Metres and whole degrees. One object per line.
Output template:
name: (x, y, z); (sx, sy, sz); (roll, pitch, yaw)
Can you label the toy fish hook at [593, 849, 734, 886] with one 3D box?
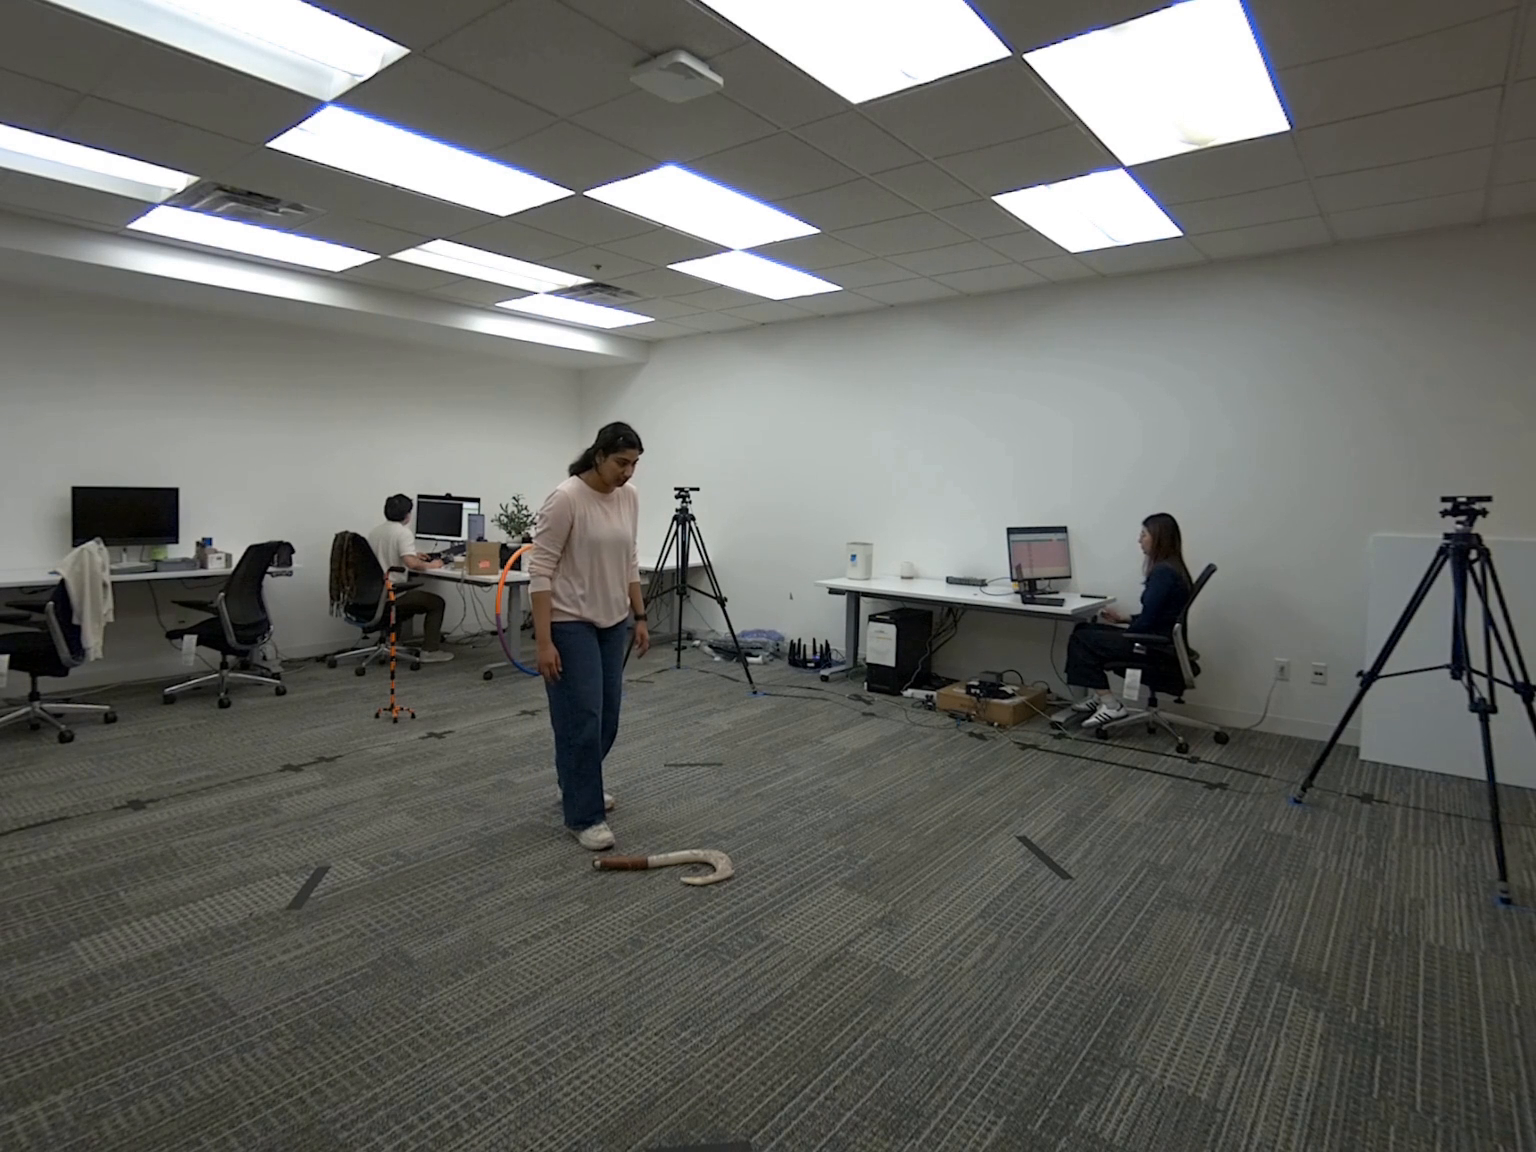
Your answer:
toy fish hook: (-0.388, 1.044, 3.058); (0.502, 0.048, 0.227); (0, 5, -8)
